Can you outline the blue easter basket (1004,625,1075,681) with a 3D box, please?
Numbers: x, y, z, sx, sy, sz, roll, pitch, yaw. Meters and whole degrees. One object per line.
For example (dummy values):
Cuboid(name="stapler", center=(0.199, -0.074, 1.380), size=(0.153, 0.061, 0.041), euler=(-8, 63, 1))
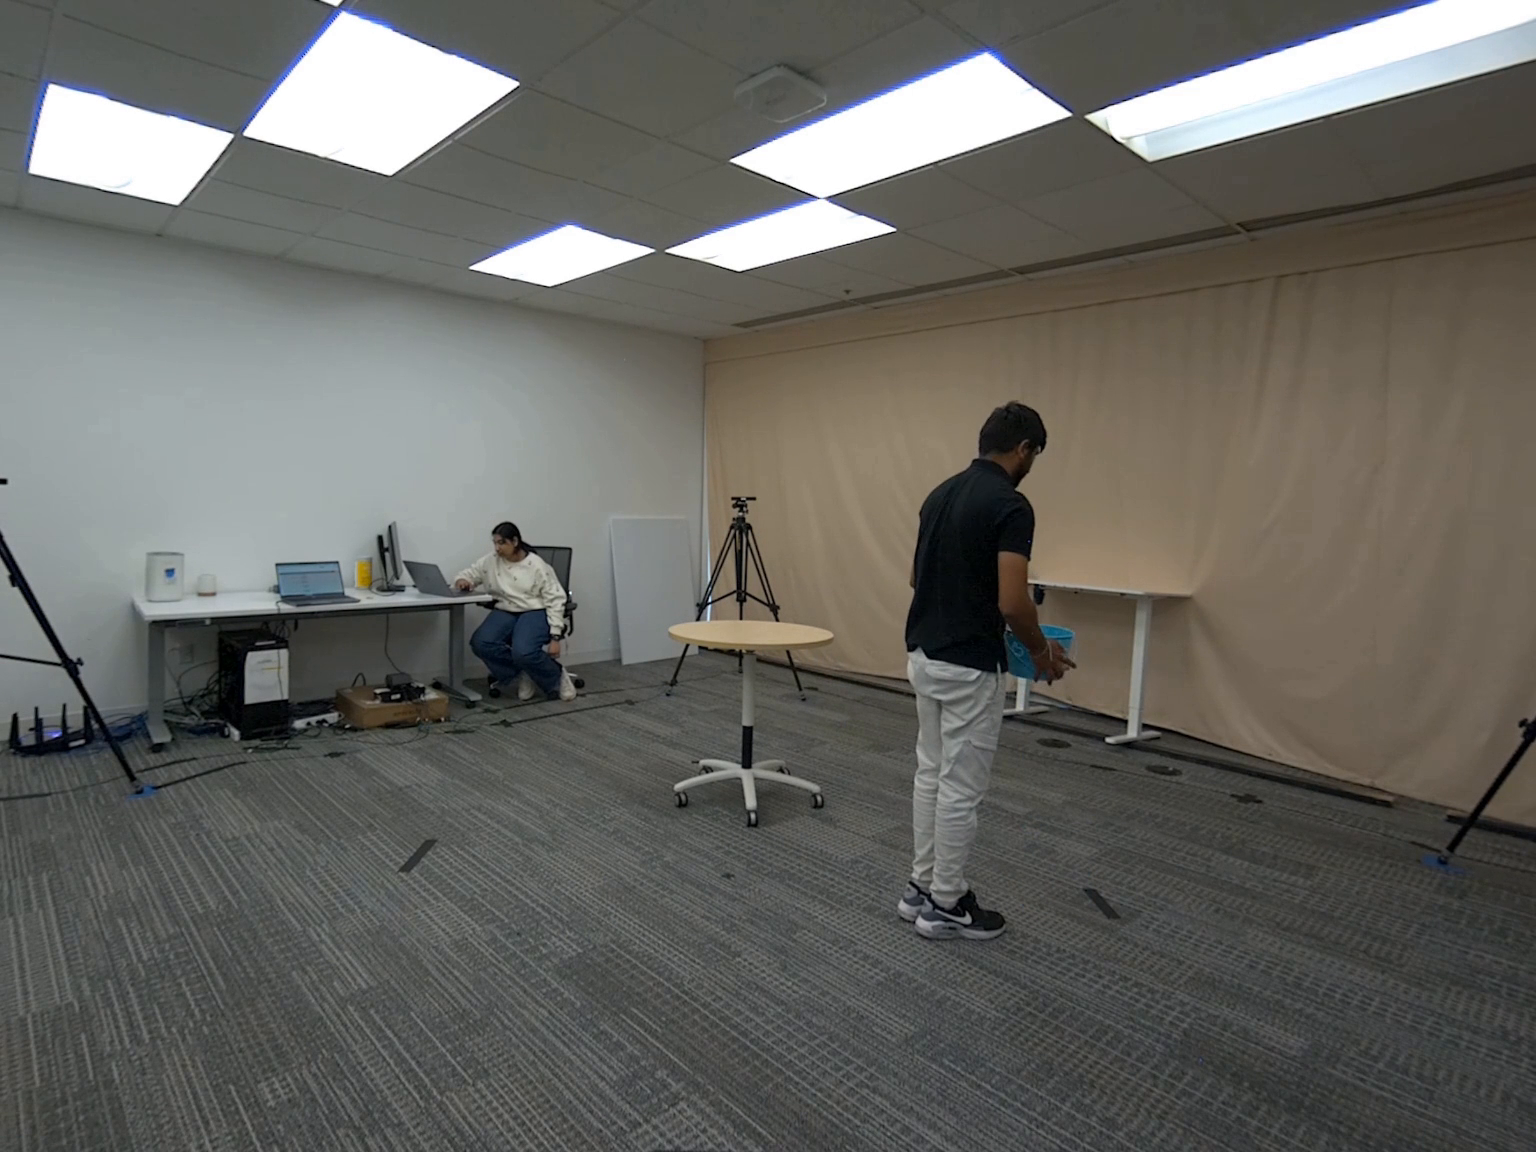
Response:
Cuboid(name="blue easter basket", center=(0.901, 0.255, 2.826), size=(0.243, 0.155, 0.244), euler=(2, 4, -2))
